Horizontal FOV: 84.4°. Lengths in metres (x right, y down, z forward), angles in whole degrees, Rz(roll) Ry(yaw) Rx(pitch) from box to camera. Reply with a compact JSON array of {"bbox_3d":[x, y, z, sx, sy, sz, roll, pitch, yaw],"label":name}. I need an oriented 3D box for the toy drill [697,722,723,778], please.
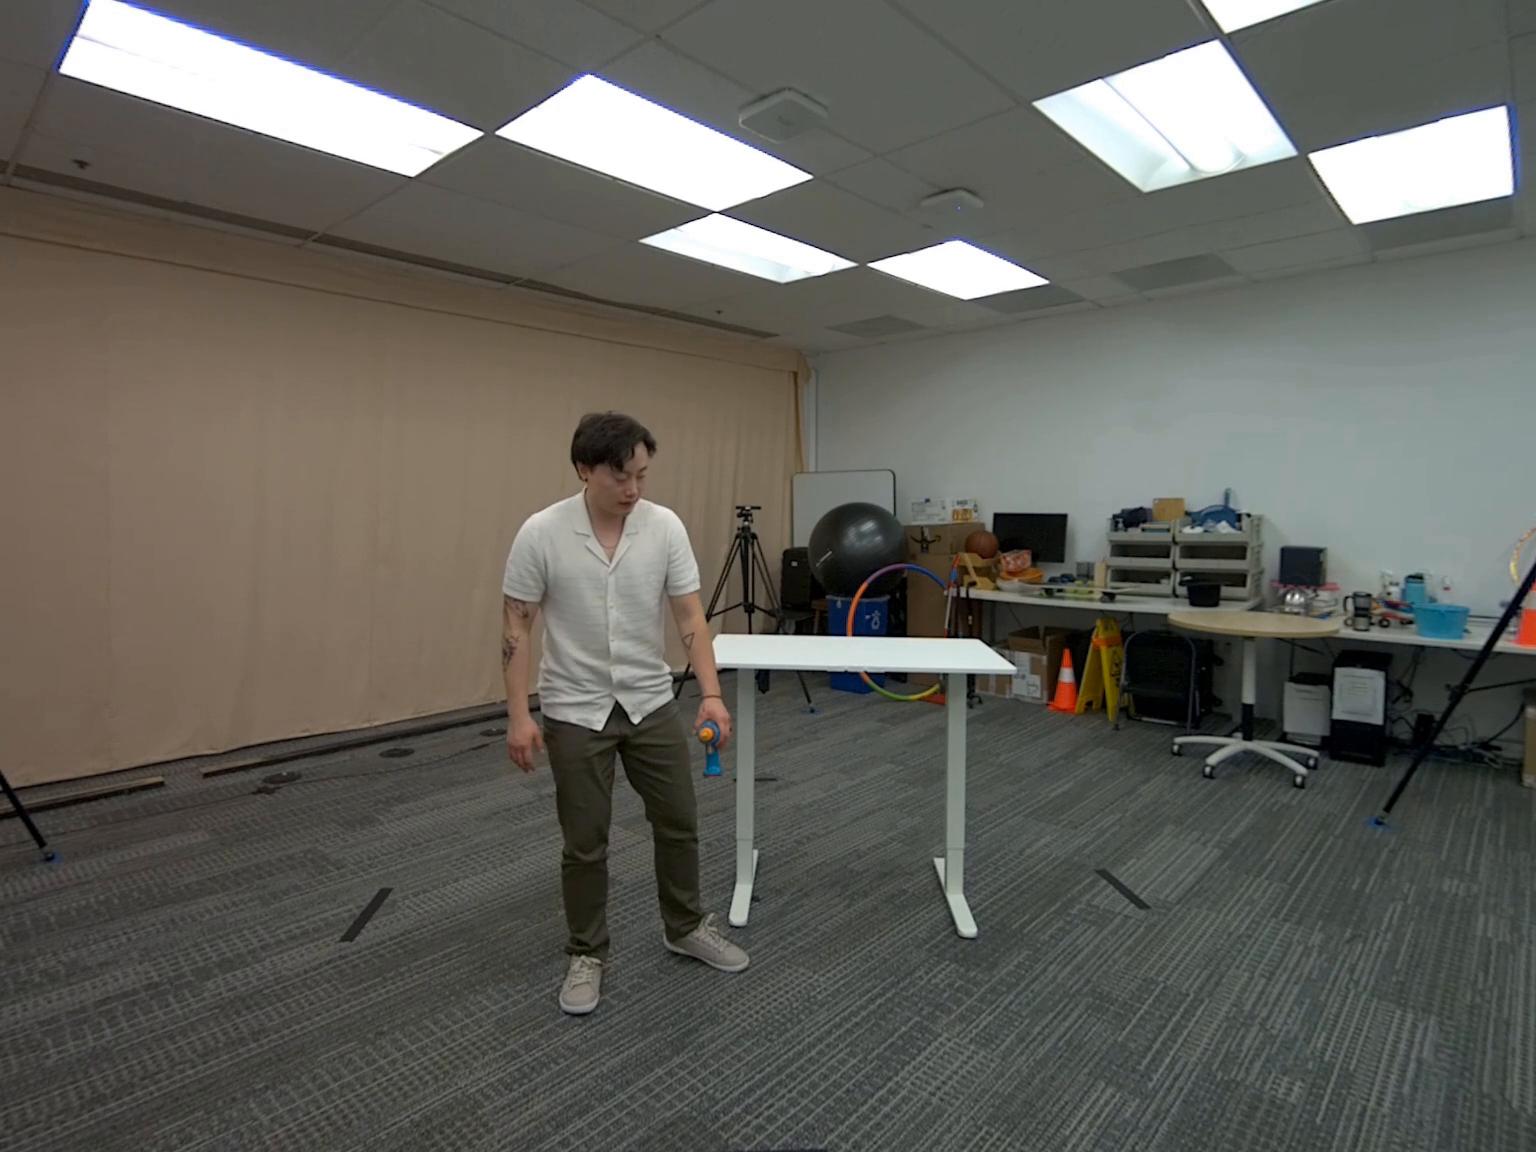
[{"bbox_3d":[-0.163,0.473,2.261,0.061,0.147,0.168,-4,-9,2],"label":"toy drill"}]
